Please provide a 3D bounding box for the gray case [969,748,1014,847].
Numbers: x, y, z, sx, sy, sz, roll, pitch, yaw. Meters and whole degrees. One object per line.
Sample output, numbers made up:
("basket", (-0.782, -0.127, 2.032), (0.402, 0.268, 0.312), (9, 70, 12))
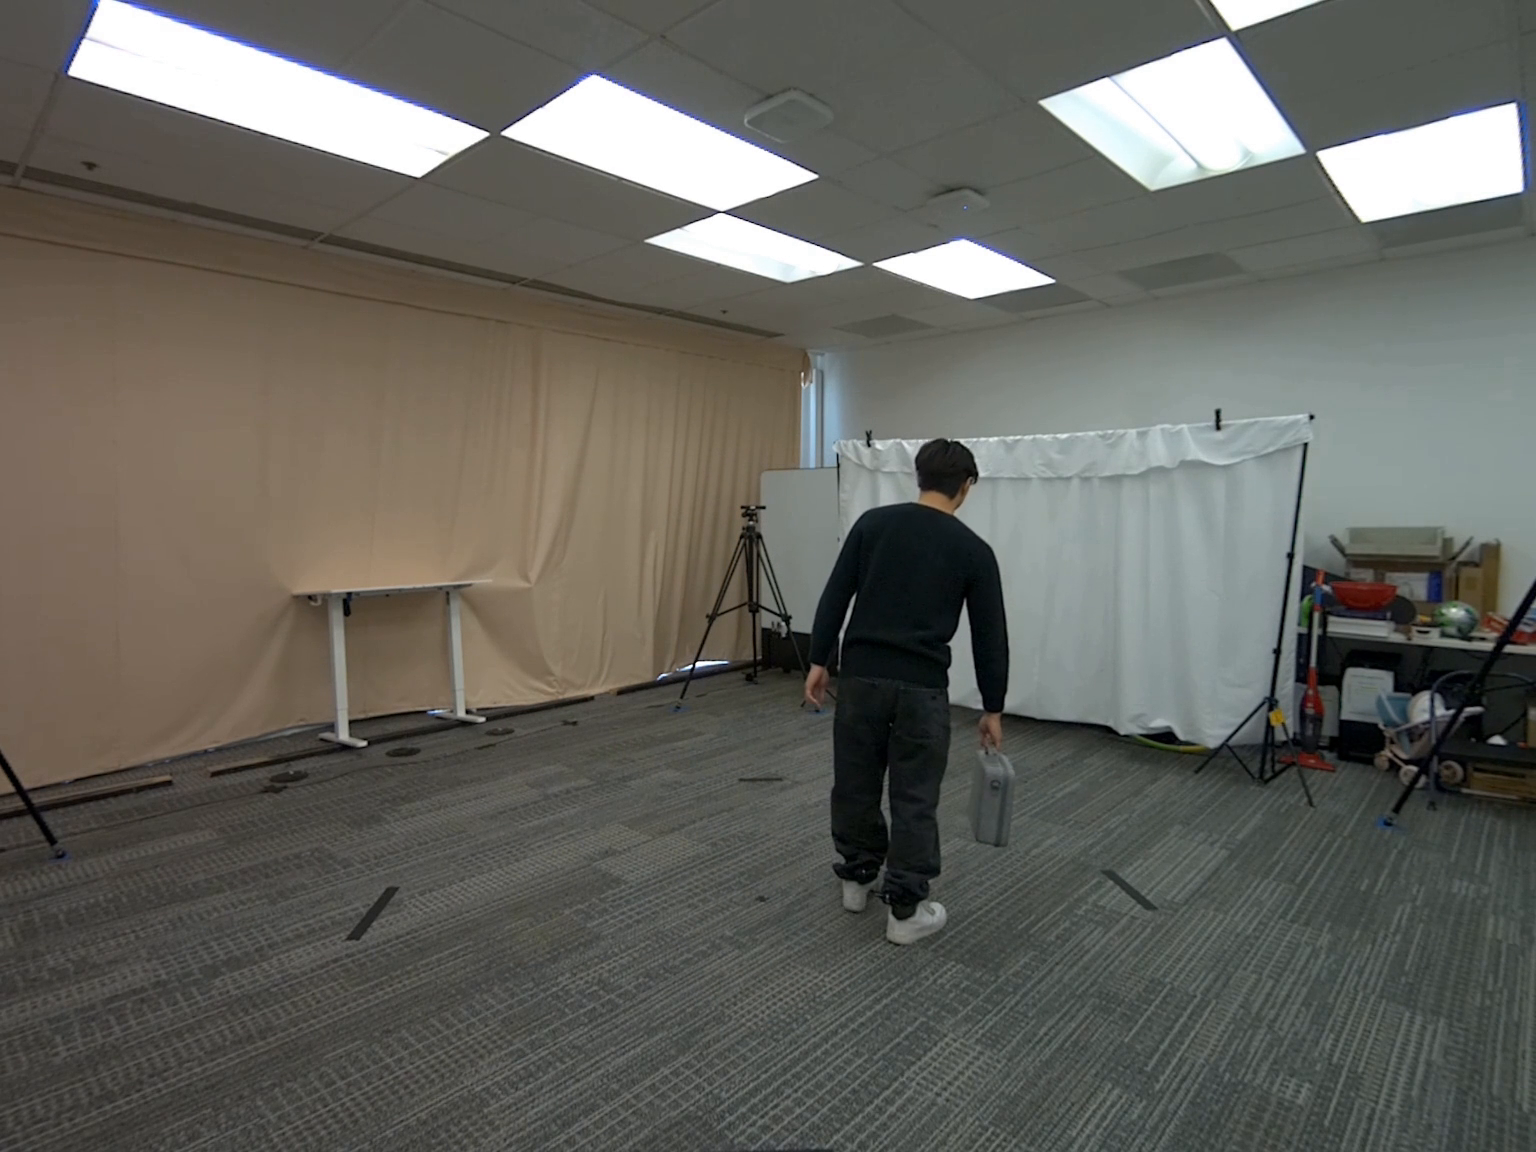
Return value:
("gray case", (0.742, 0.727, 2.769), (0.105, 0.260, 0.254), (6, 4, 8))
